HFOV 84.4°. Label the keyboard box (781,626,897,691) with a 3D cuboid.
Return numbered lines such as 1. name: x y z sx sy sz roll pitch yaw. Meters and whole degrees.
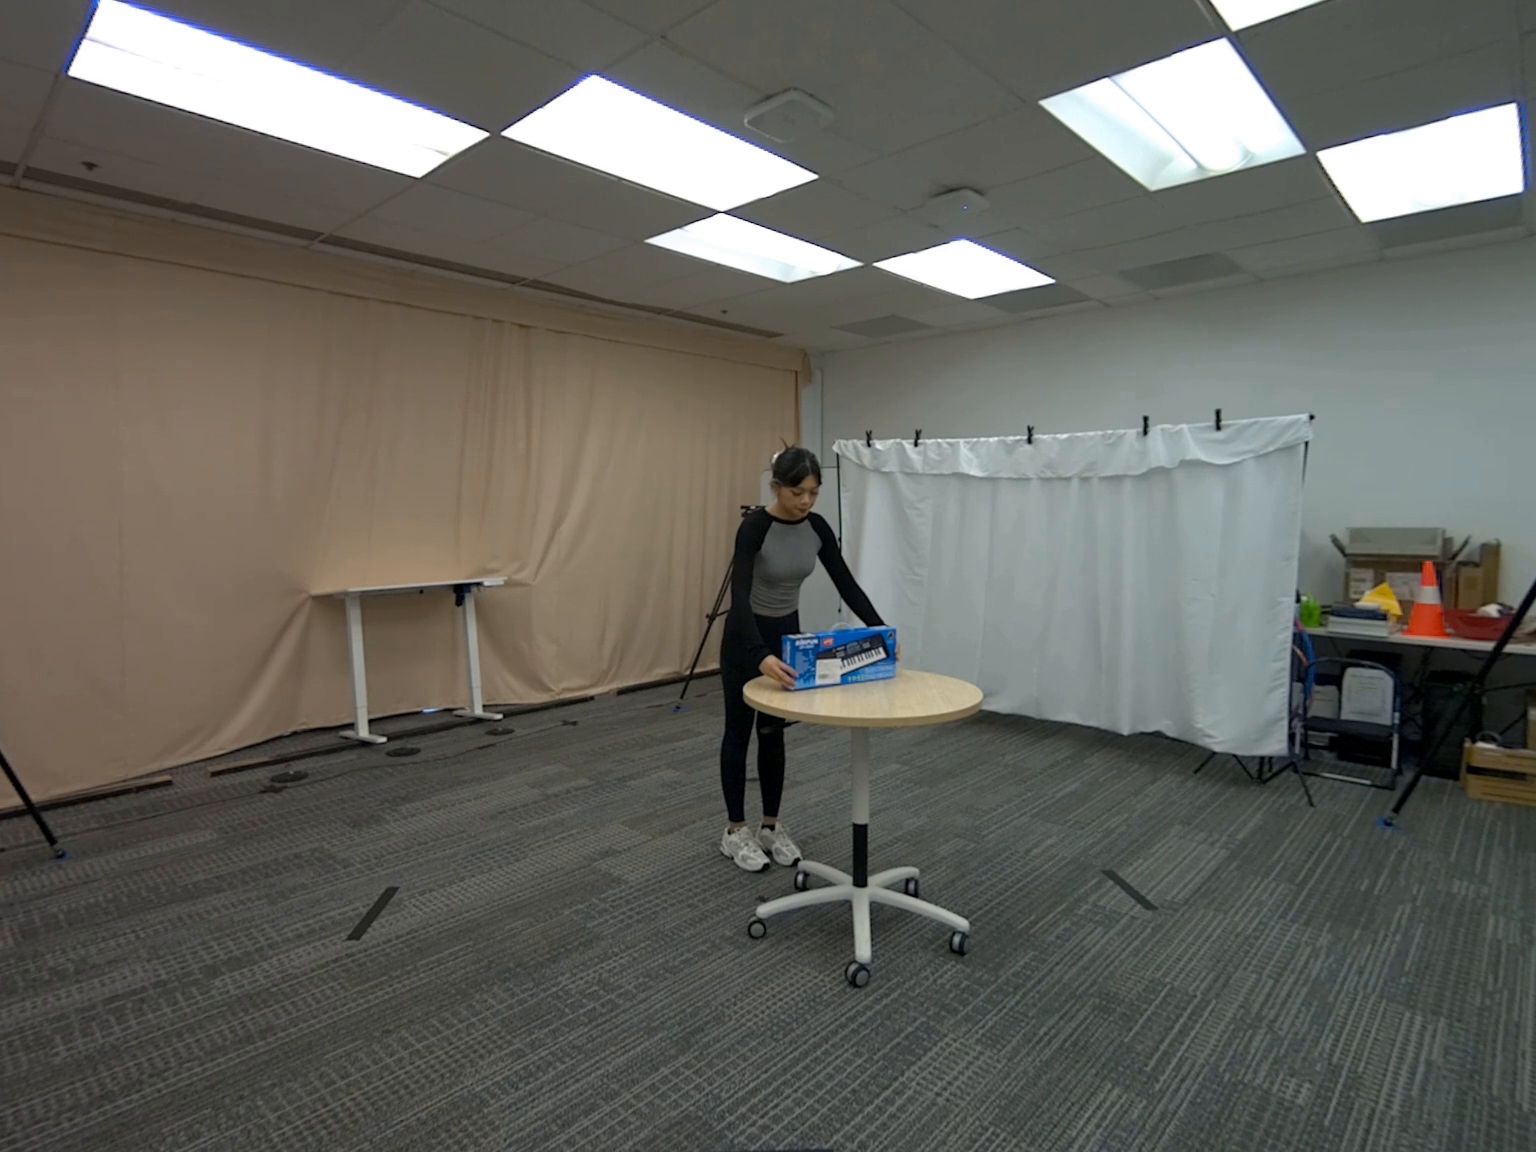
1. keyboard box: 0.245 0.275 2.833 0.425 0.176 0.061 -3 3 -31
